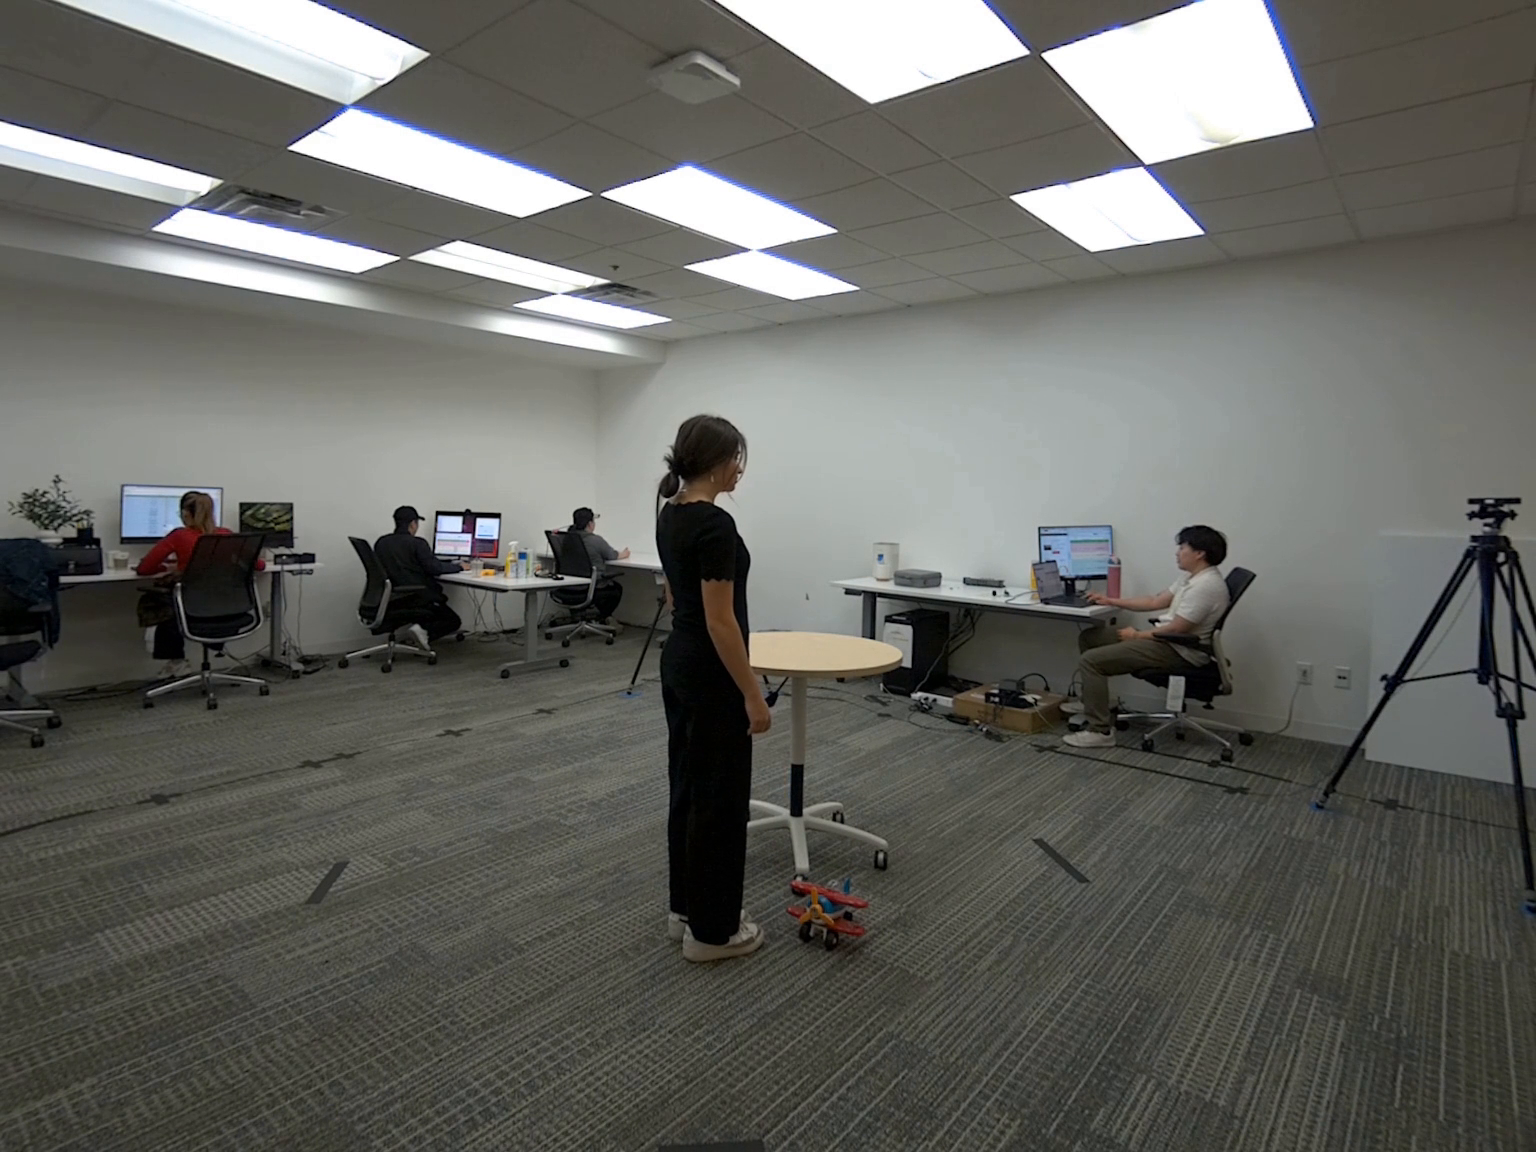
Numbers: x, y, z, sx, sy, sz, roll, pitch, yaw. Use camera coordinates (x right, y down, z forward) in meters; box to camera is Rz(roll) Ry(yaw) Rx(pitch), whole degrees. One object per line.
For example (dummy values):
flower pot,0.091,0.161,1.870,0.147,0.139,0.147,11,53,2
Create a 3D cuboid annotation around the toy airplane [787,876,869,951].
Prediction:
toy airplane,0.175,1.051,2.688,0.251,0.155,0.260,2,6,1
